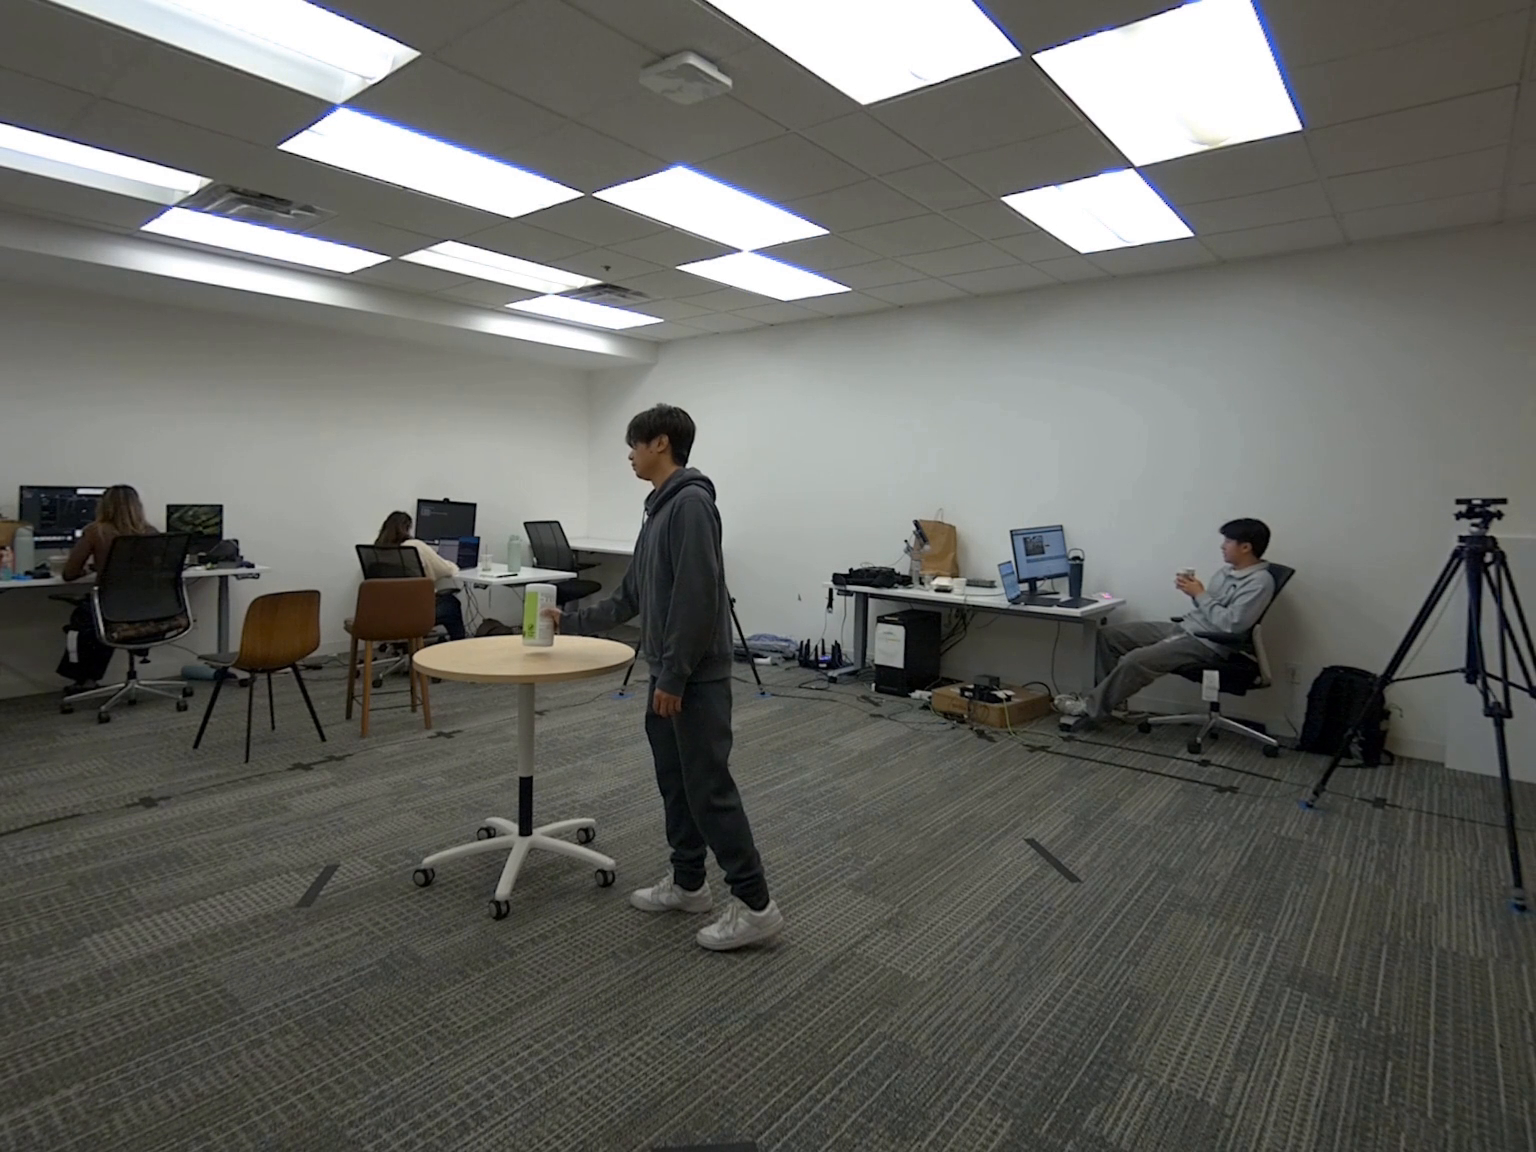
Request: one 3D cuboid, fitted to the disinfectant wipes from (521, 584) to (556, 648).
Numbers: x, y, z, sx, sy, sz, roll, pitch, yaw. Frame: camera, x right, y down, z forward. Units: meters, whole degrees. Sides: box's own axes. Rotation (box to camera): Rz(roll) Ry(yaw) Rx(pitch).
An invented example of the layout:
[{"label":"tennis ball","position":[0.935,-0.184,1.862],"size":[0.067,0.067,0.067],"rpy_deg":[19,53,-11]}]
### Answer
[{"label":"disinfectant wipes","position":[-0.820,0.139,3.015],"size":[0.118,0.219,0.117],"rpy_deg":[1,-8,-2]}]
